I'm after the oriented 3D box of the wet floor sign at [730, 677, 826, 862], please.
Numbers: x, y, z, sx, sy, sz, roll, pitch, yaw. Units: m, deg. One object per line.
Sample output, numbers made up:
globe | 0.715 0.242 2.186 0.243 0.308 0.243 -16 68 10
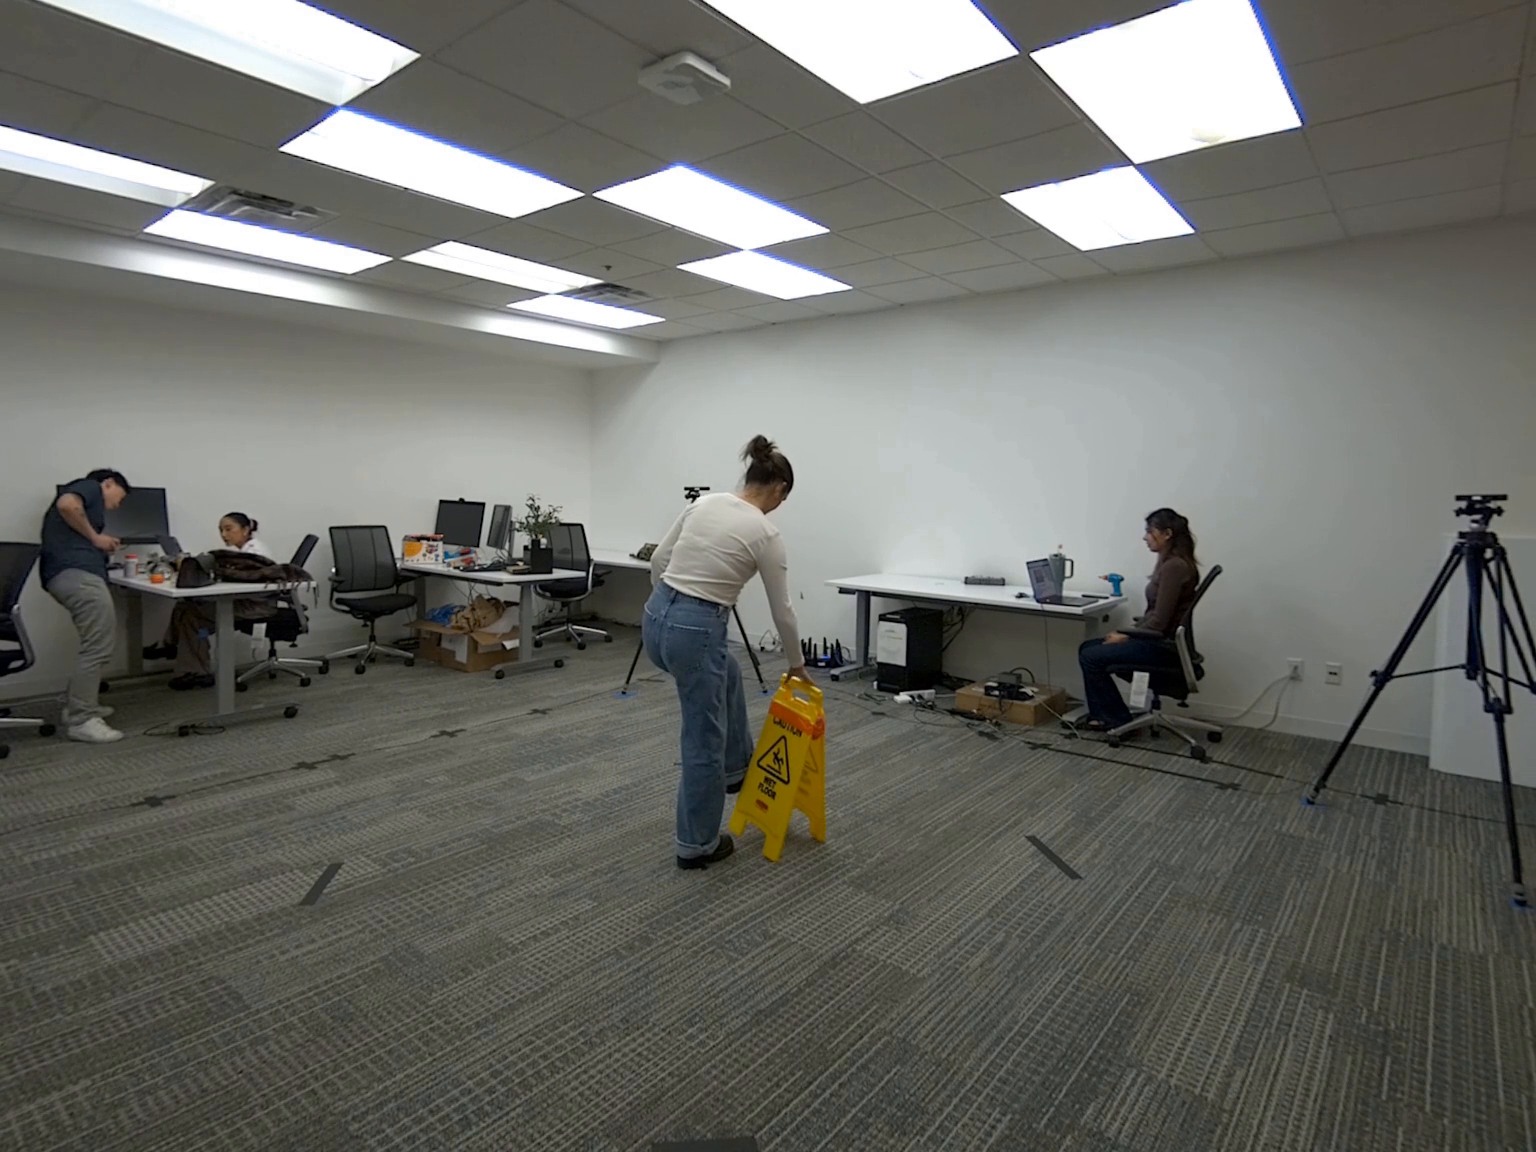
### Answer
wet floor sign | 0.071 0.712 3.306 0.281 0.641 0.293 -2 15 -45
